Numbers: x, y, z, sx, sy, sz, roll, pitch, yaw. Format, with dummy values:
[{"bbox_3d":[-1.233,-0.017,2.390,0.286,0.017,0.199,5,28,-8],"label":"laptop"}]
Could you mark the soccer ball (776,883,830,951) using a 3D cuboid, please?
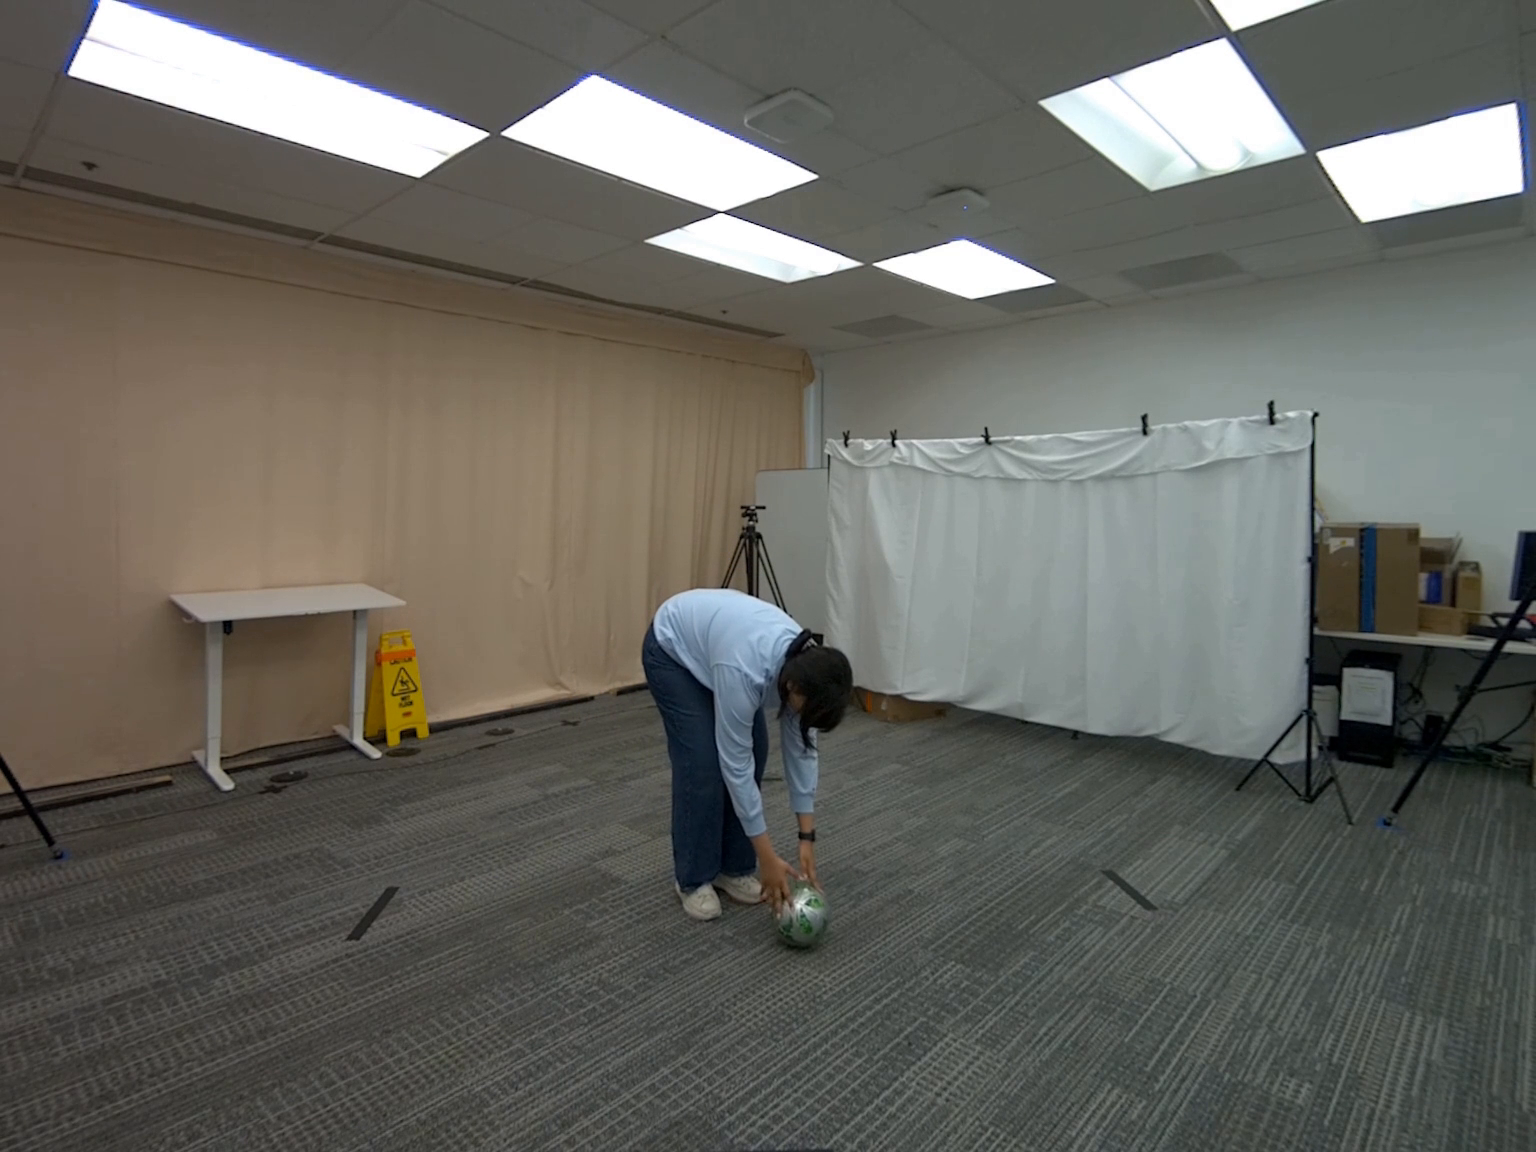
[{"bbox_3d":[0.106,1.079,2.674,0.187,0.187,0.188,0,4,-2],"label":"soccer ball"}]
